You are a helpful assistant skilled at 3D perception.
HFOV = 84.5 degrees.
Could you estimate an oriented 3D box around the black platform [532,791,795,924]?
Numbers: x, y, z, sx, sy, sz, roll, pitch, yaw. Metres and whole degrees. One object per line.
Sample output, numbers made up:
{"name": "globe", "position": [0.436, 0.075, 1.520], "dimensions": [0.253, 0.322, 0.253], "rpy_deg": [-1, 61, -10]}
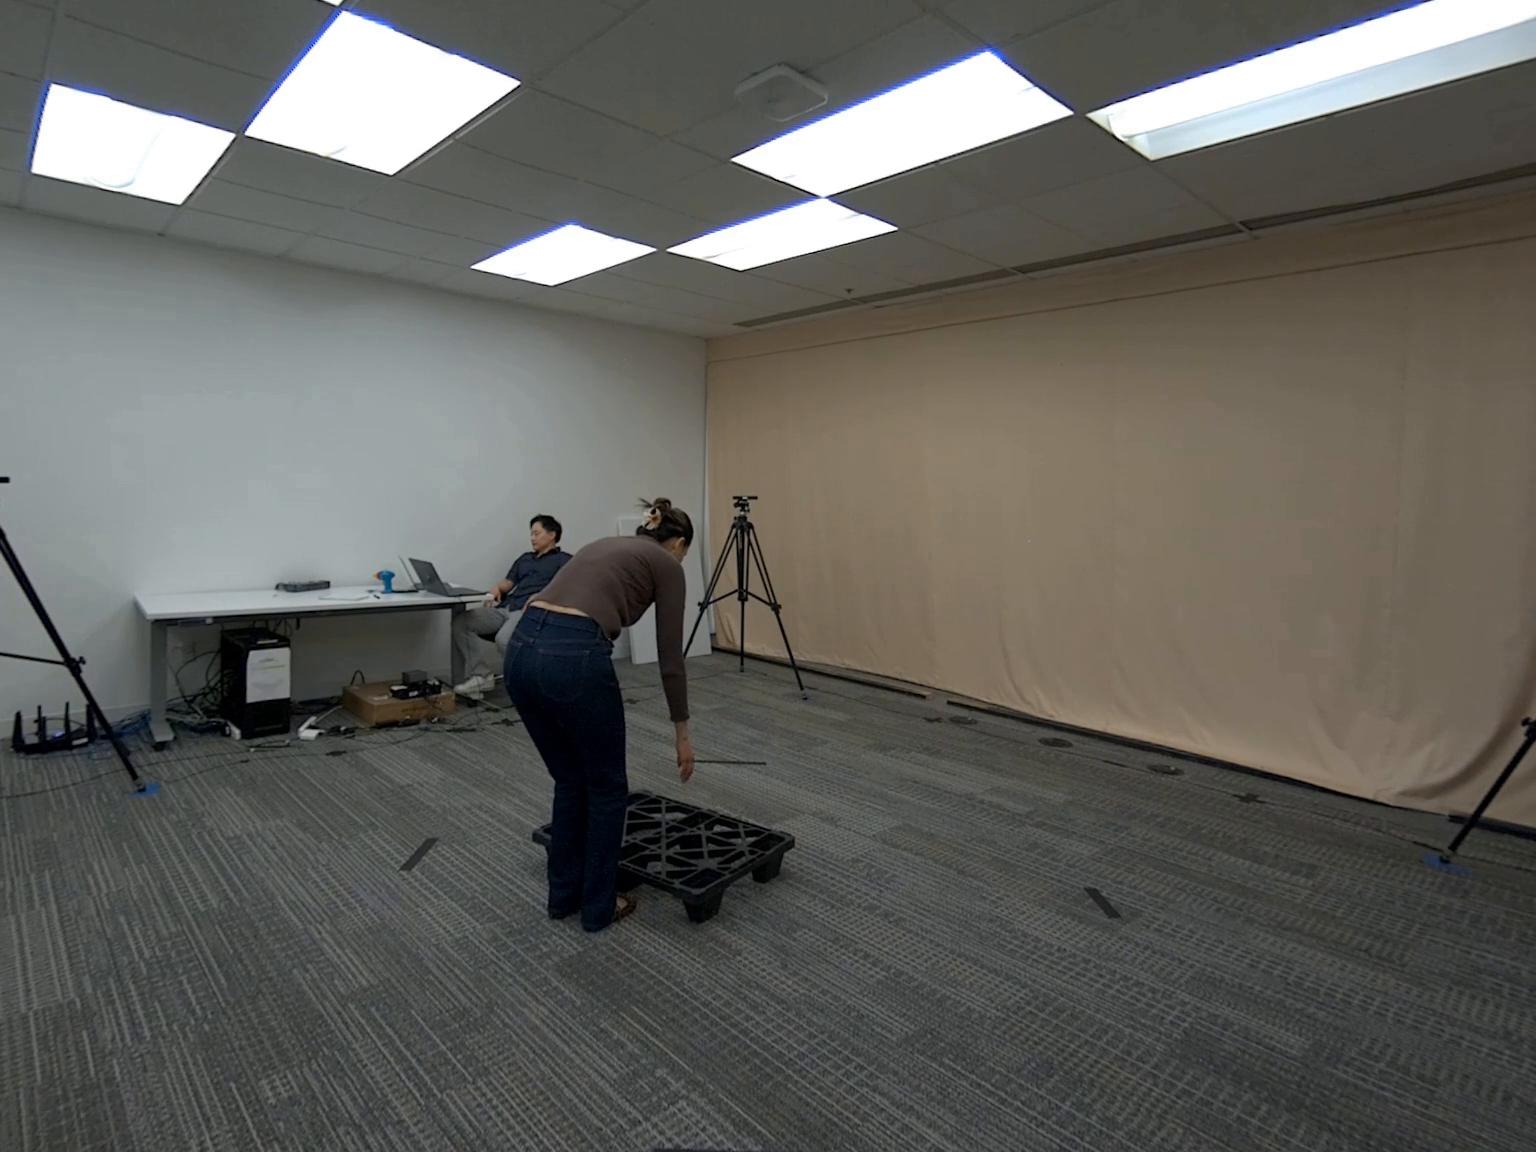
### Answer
{"name": "black platform", "position": [-0.396, 1.028, 3.144], "dimensions": [0.825, 0.143, 0.592], "rpy_deg": [5, 6, 35]}
